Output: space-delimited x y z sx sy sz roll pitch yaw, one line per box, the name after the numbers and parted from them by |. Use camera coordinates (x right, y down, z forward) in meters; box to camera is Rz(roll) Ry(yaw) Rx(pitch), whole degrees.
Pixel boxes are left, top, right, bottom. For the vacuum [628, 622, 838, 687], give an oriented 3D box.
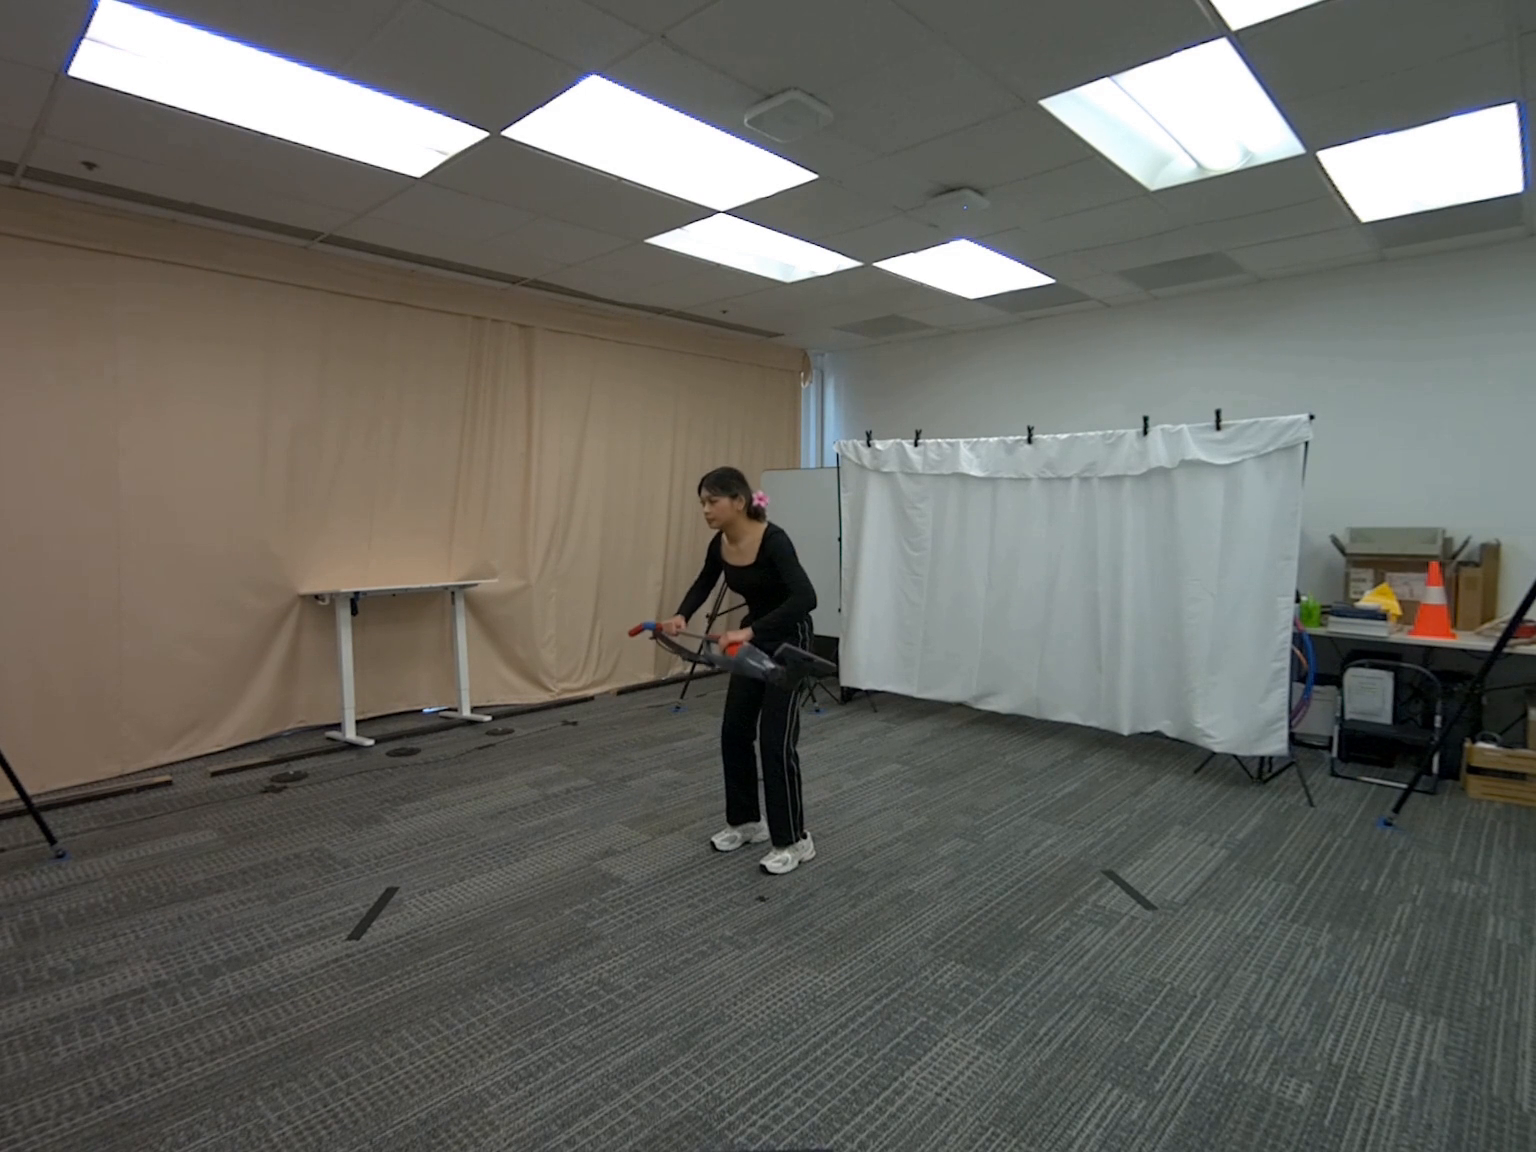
-0.229 0.282 3.127 0.244 0.144 1.084 25 -12 -38 | vacuum
